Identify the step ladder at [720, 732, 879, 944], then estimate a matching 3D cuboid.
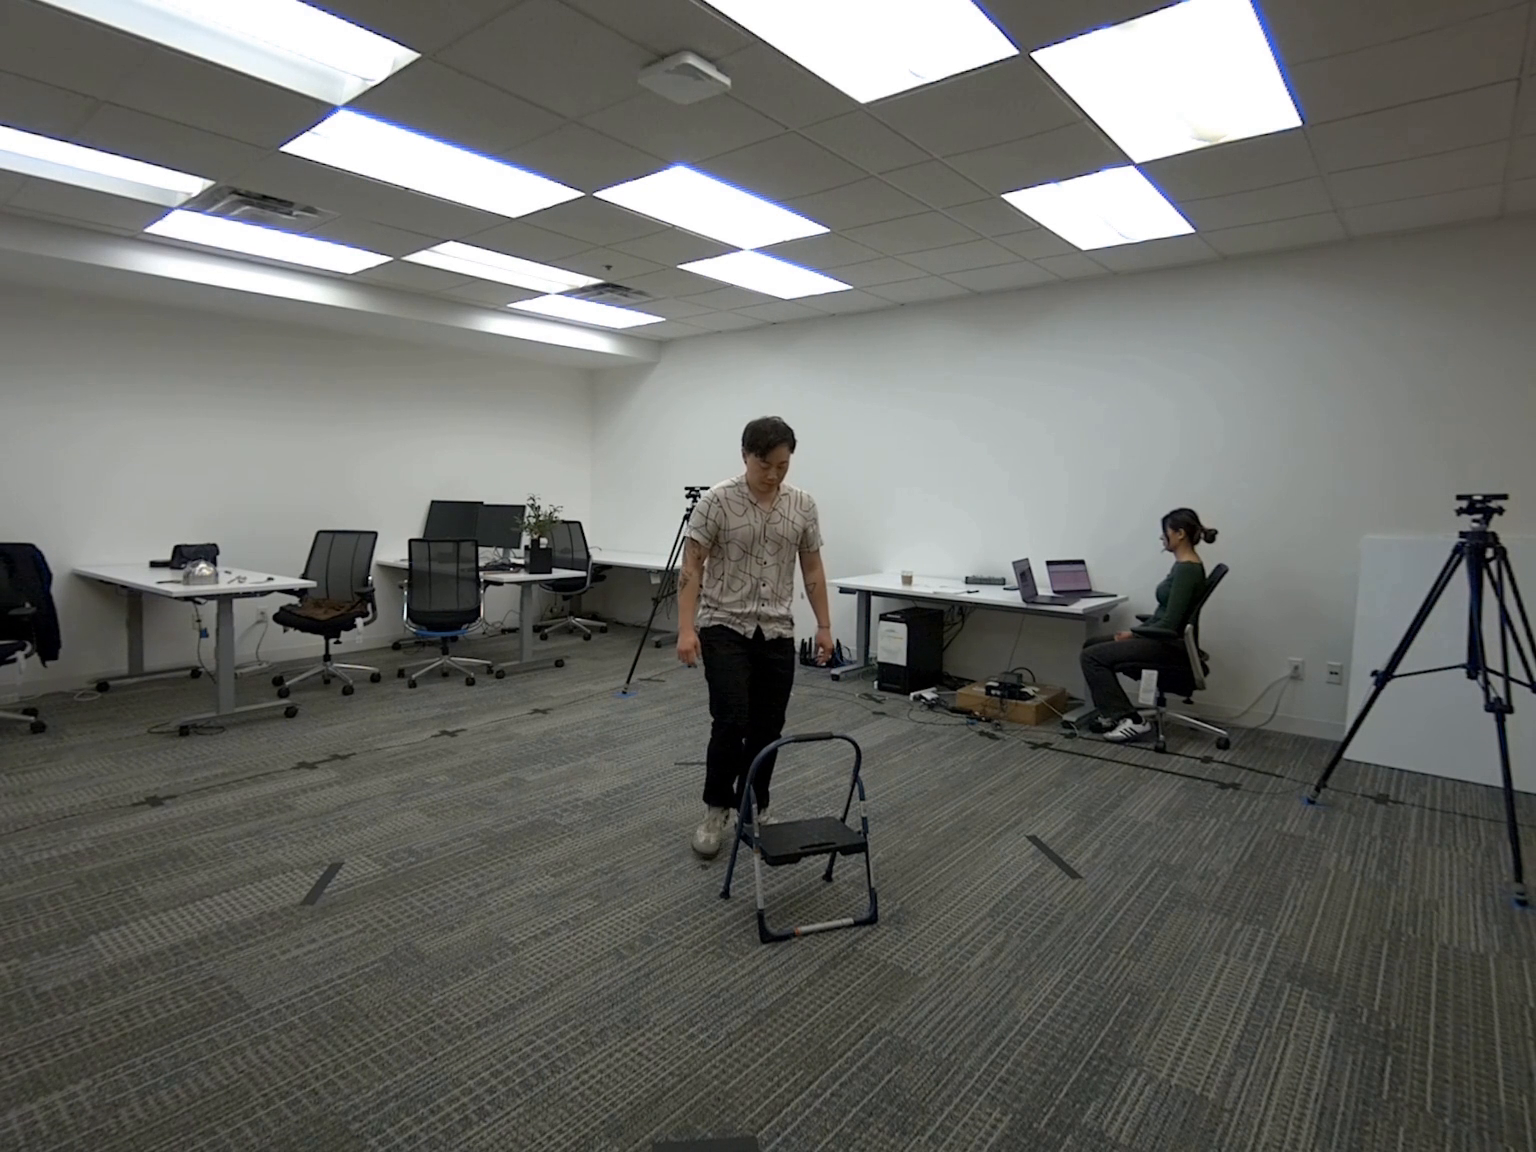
[{"bbox_3d":[0.098,0.797,2.808,0.421,0.604,0.358,0,3,-24],"label":"step ladder"}]
